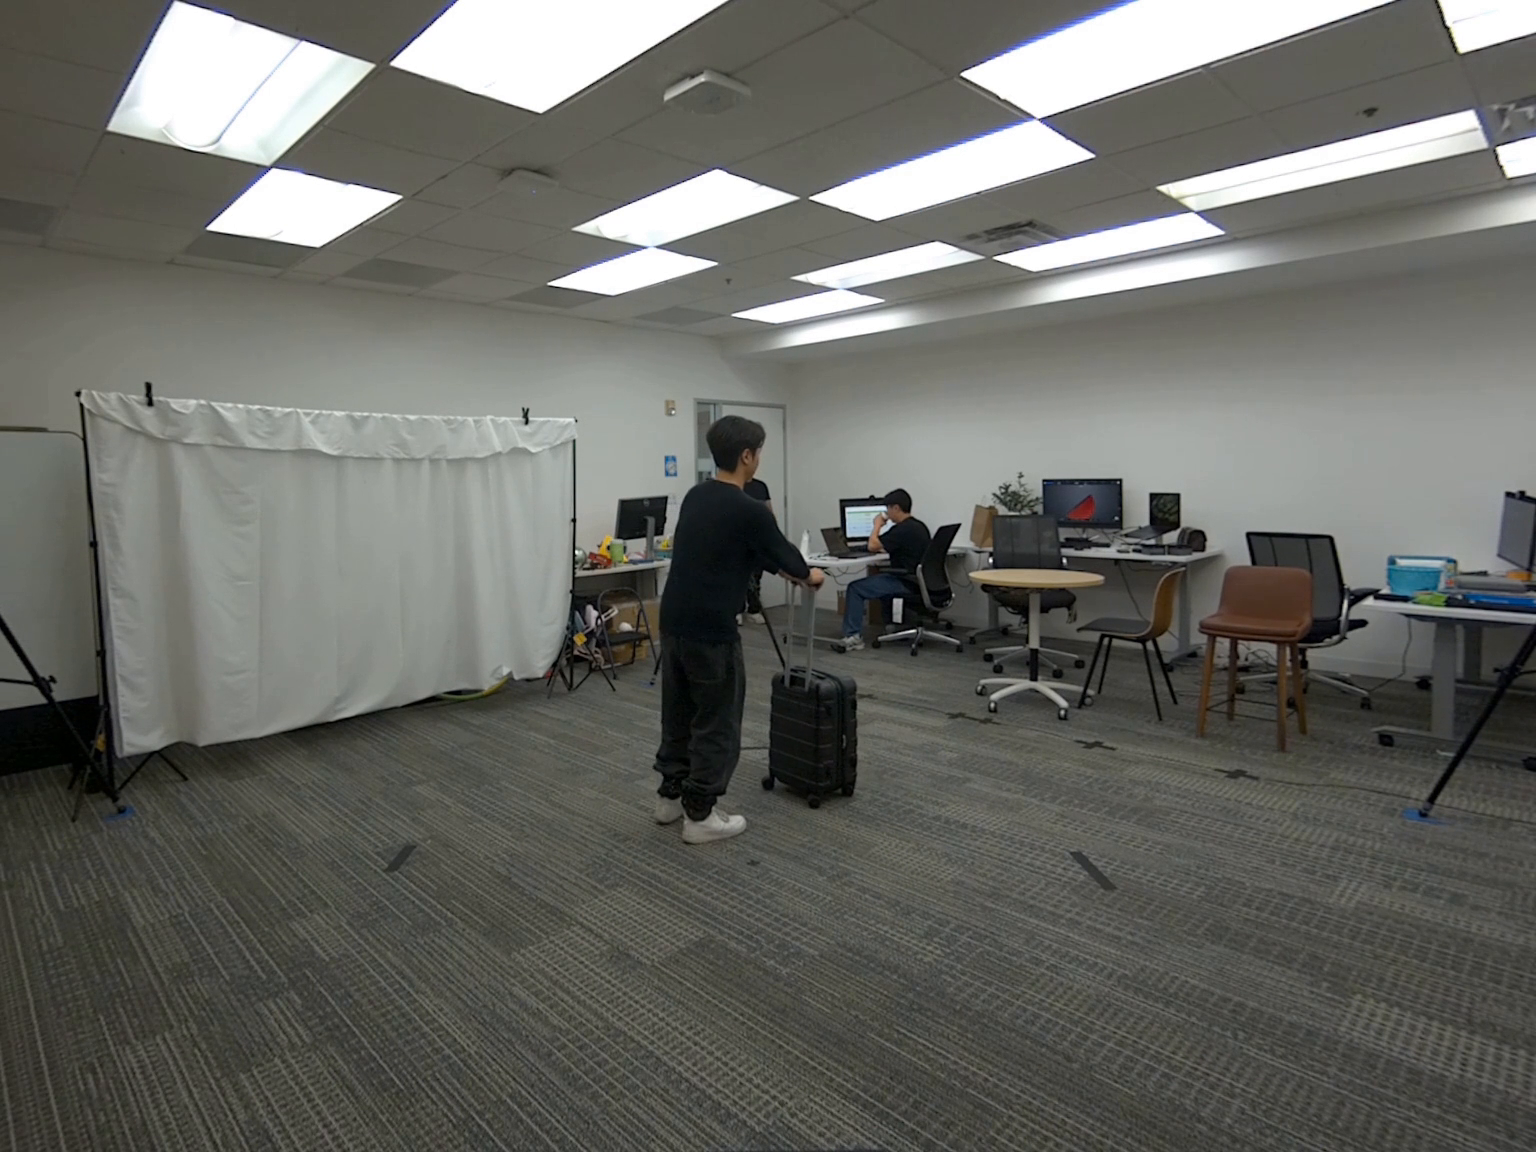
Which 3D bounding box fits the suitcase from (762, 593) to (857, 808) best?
[{"bbox_3d":[0.215,0.488,3.786,0.249,0.977,0.396,1,3,-41],"label":"suitcase"}]
